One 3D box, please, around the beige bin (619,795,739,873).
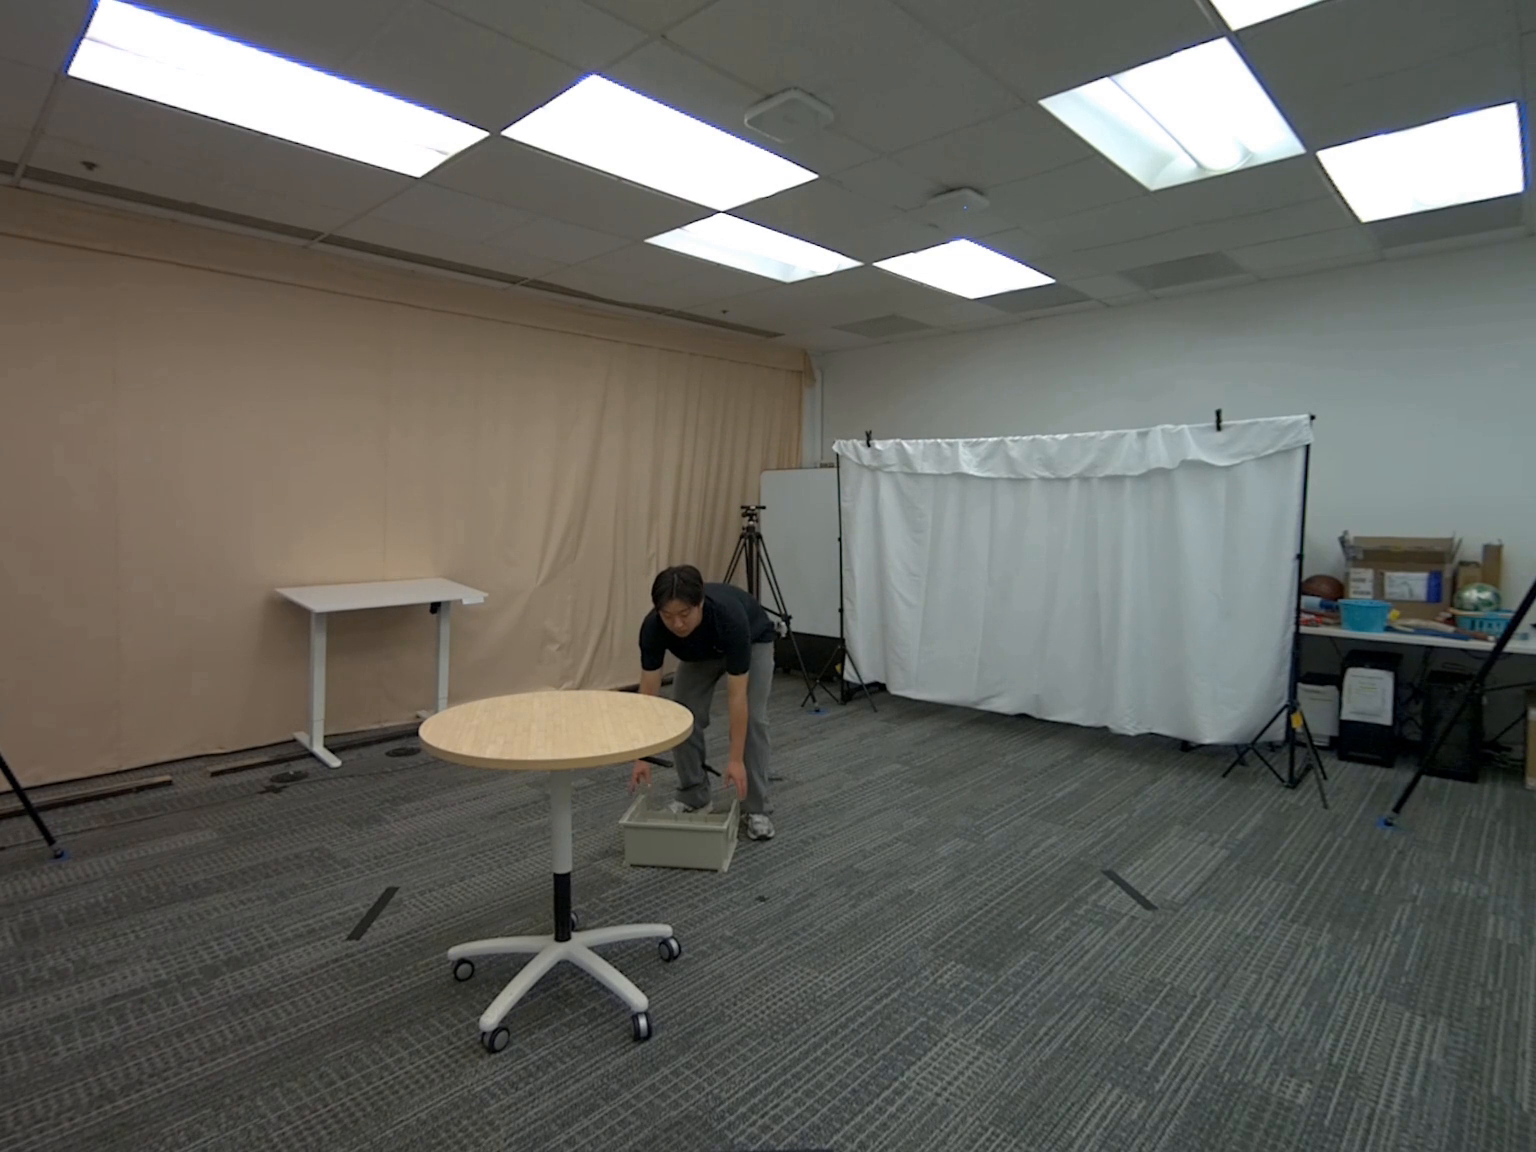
[{"bbox_3d":[-0.344,1.020,3.398,0.427,0.188,0.375,1,6,8],"label":"beige bin"}]
